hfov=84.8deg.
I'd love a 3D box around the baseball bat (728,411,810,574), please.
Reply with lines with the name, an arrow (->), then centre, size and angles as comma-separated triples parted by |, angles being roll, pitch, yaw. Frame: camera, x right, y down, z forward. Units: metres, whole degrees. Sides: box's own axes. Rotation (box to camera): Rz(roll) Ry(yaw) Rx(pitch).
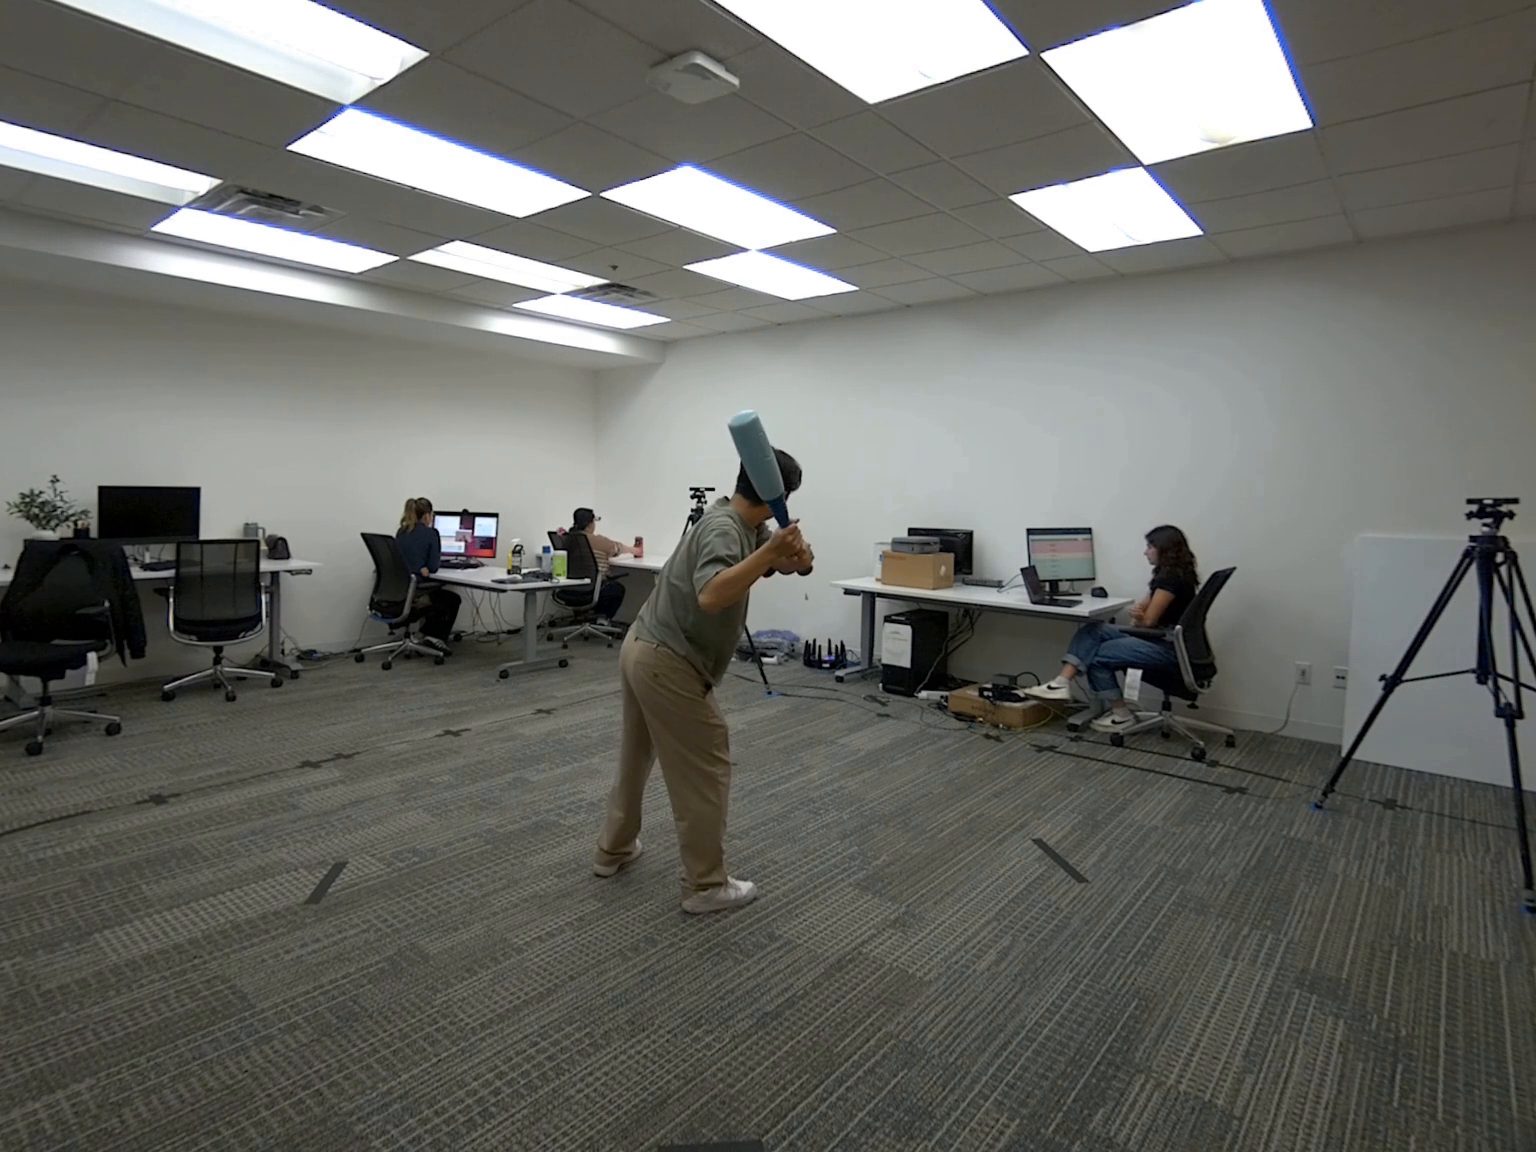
baseball bat -> 0.003, -0.208, 2.368 | 0.090, 0.525, 0.091 | -16, 32, 9
